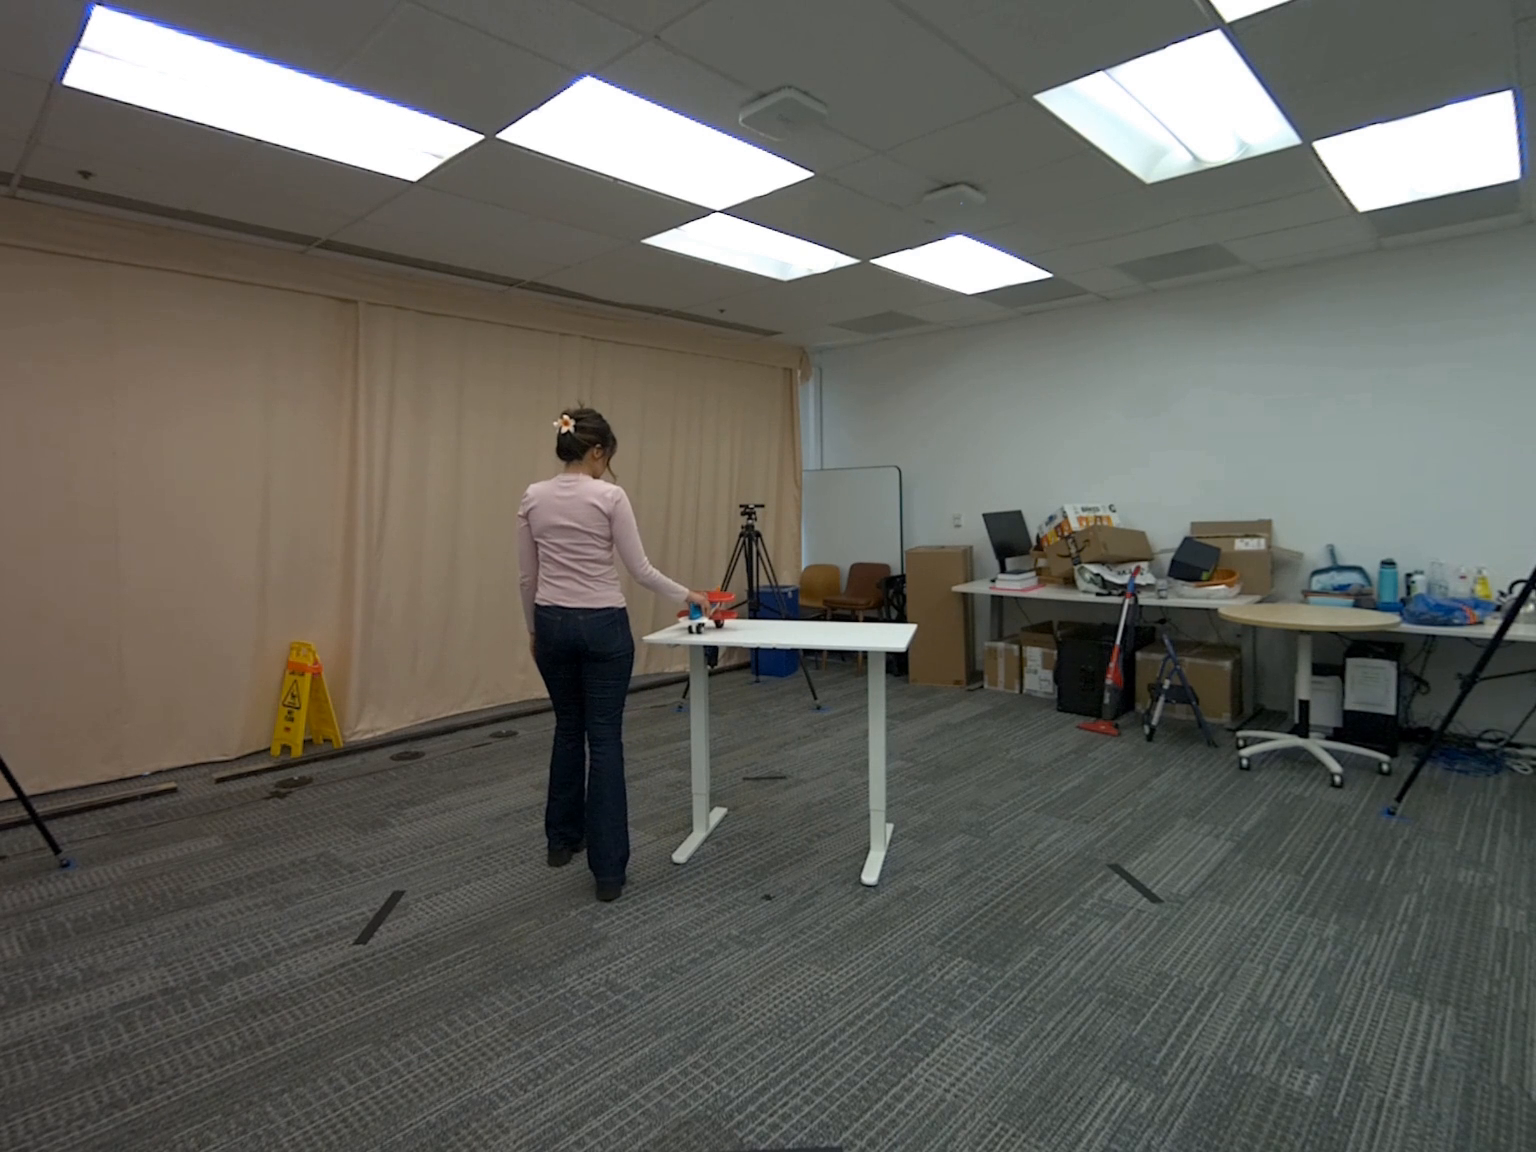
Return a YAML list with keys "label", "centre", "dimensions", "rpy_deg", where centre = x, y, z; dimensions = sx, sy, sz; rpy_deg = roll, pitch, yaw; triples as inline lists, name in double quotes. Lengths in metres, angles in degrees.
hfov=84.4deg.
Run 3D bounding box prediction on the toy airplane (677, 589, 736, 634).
- label: "toy airplane"
  centre: [-0.243, 0.147, 3.442]
  dimensions: [0.247, 0.156, 0.263]
  rpy_deg: [-3, 2, -15]
